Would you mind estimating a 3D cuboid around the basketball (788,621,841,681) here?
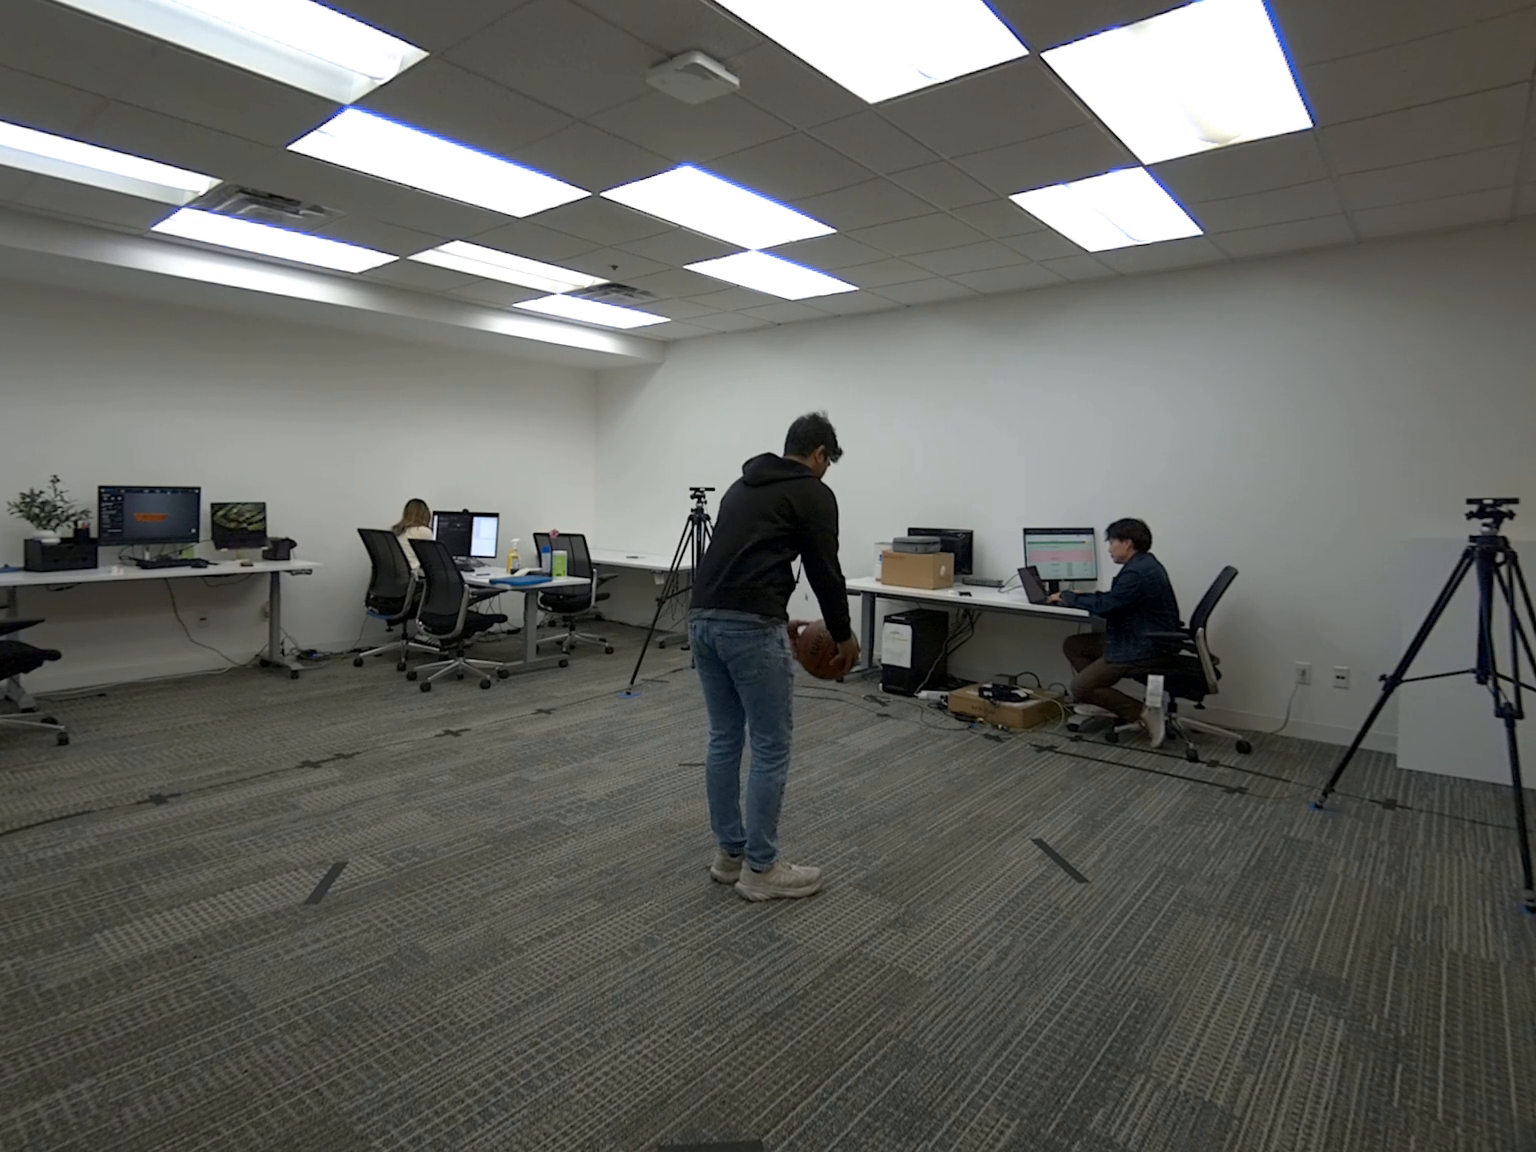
[{"bbox_3d":[0.220,0.268,3.284,0.235,0.235,0.237,1,4,-2],"label":"basketball"}]
